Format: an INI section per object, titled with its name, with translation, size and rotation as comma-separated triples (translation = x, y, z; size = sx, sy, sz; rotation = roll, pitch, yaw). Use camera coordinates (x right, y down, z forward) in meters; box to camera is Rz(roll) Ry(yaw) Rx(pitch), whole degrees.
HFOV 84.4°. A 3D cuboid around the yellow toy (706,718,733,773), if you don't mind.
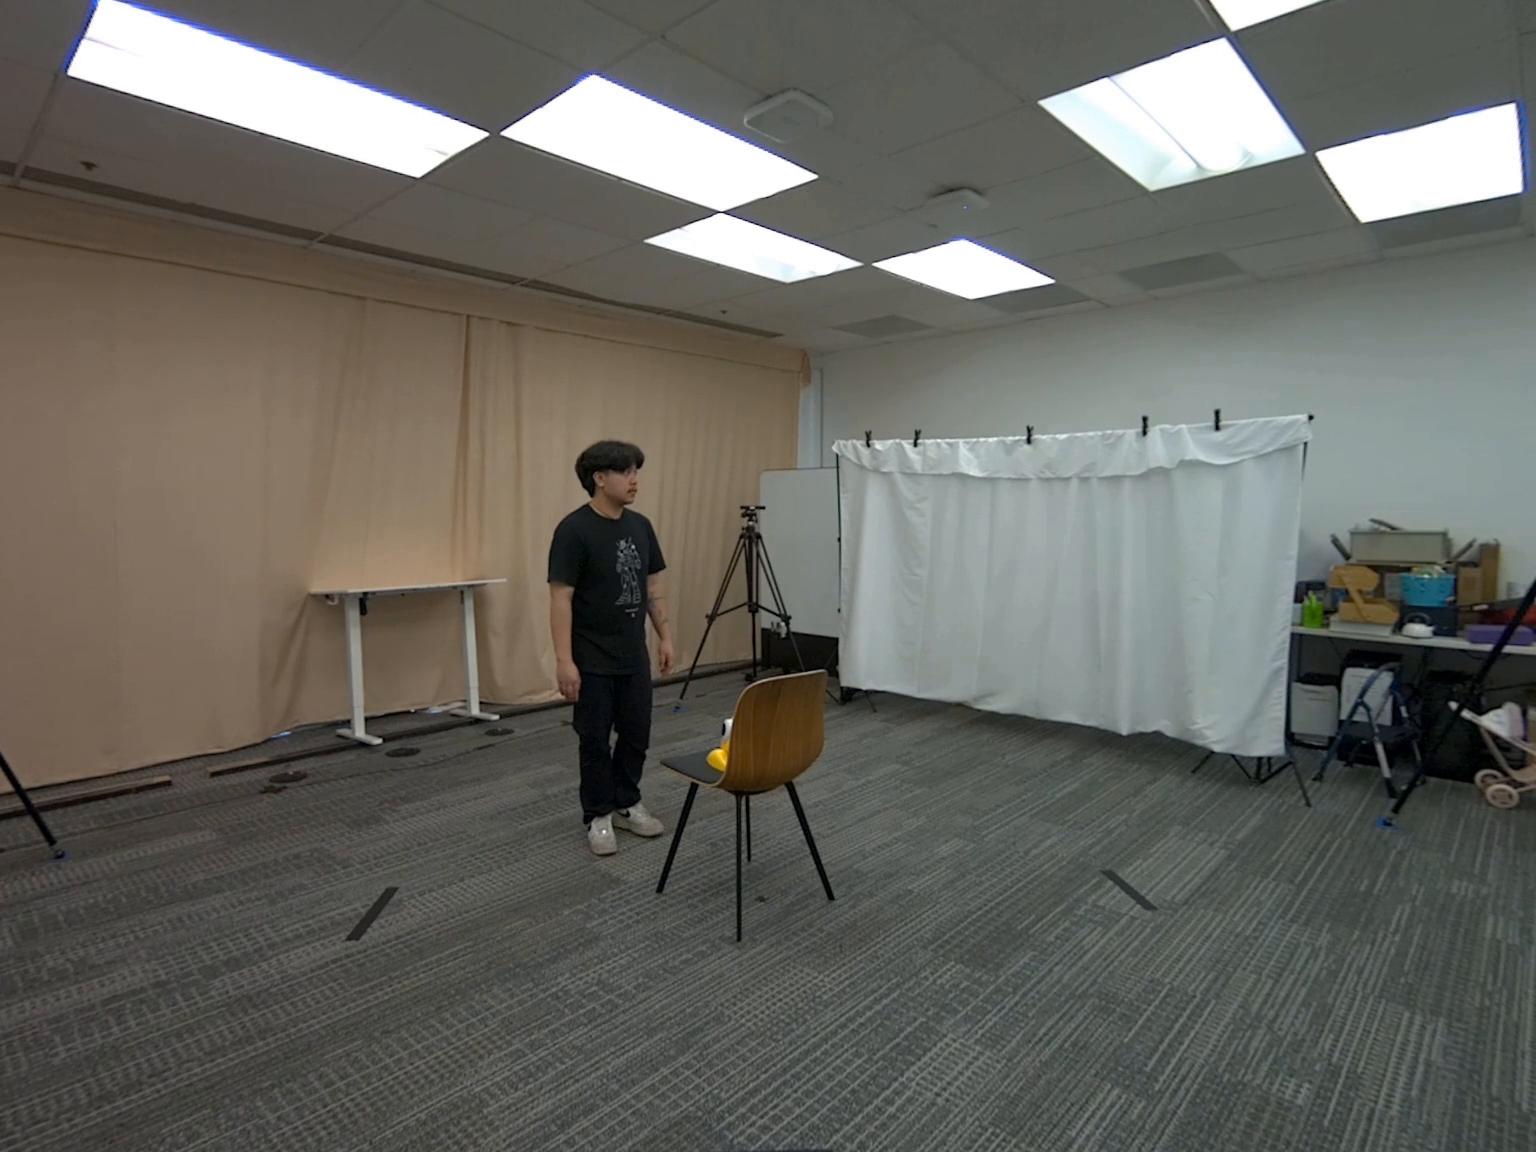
[yellow toy]
translation = -0.098, 0.555, 2.978
size = 0.198, 0.230, 0.200
rotation = -4, 10, -42
